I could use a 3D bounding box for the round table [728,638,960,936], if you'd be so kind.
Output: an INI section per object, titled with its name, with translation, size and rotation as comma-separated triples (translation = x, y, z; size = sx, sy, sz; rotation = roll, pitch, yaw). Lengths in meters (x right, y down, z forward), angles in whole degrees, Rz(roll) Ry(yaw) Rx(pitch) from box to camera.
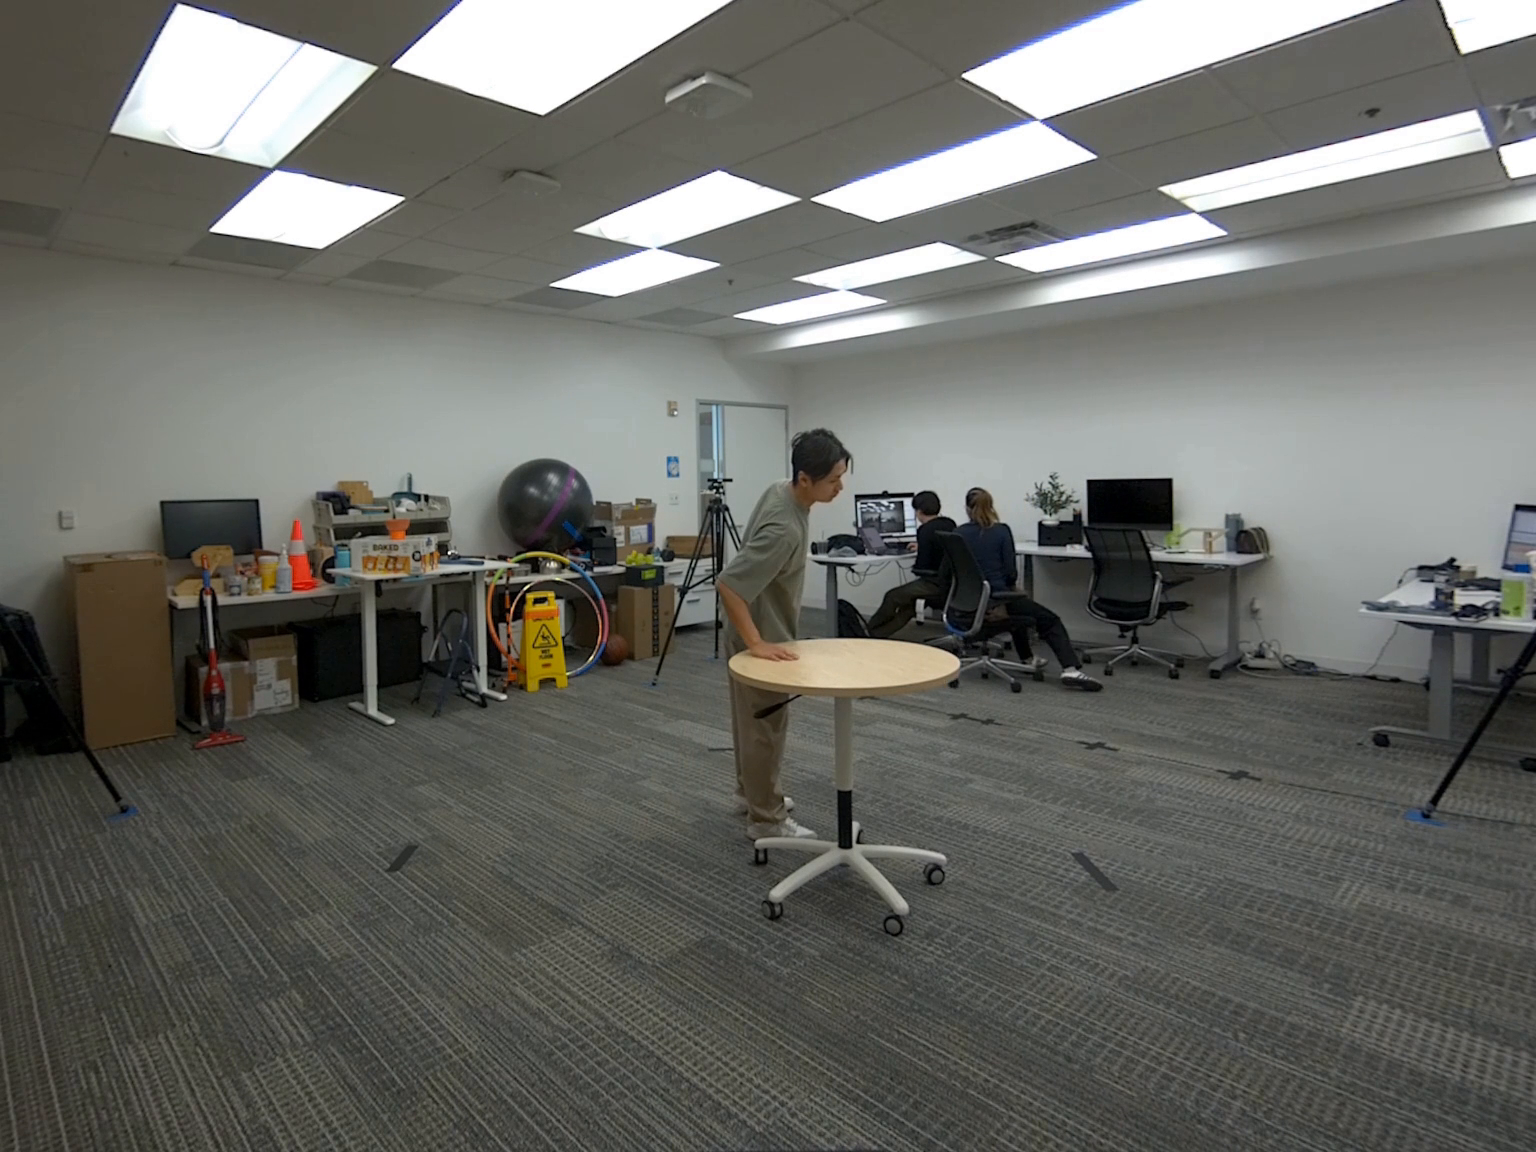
[round table]
translation = 0.269, 0.676, 2.893
size = 0.763, 0.791, 0.768
rotation = -1, 5, -2
